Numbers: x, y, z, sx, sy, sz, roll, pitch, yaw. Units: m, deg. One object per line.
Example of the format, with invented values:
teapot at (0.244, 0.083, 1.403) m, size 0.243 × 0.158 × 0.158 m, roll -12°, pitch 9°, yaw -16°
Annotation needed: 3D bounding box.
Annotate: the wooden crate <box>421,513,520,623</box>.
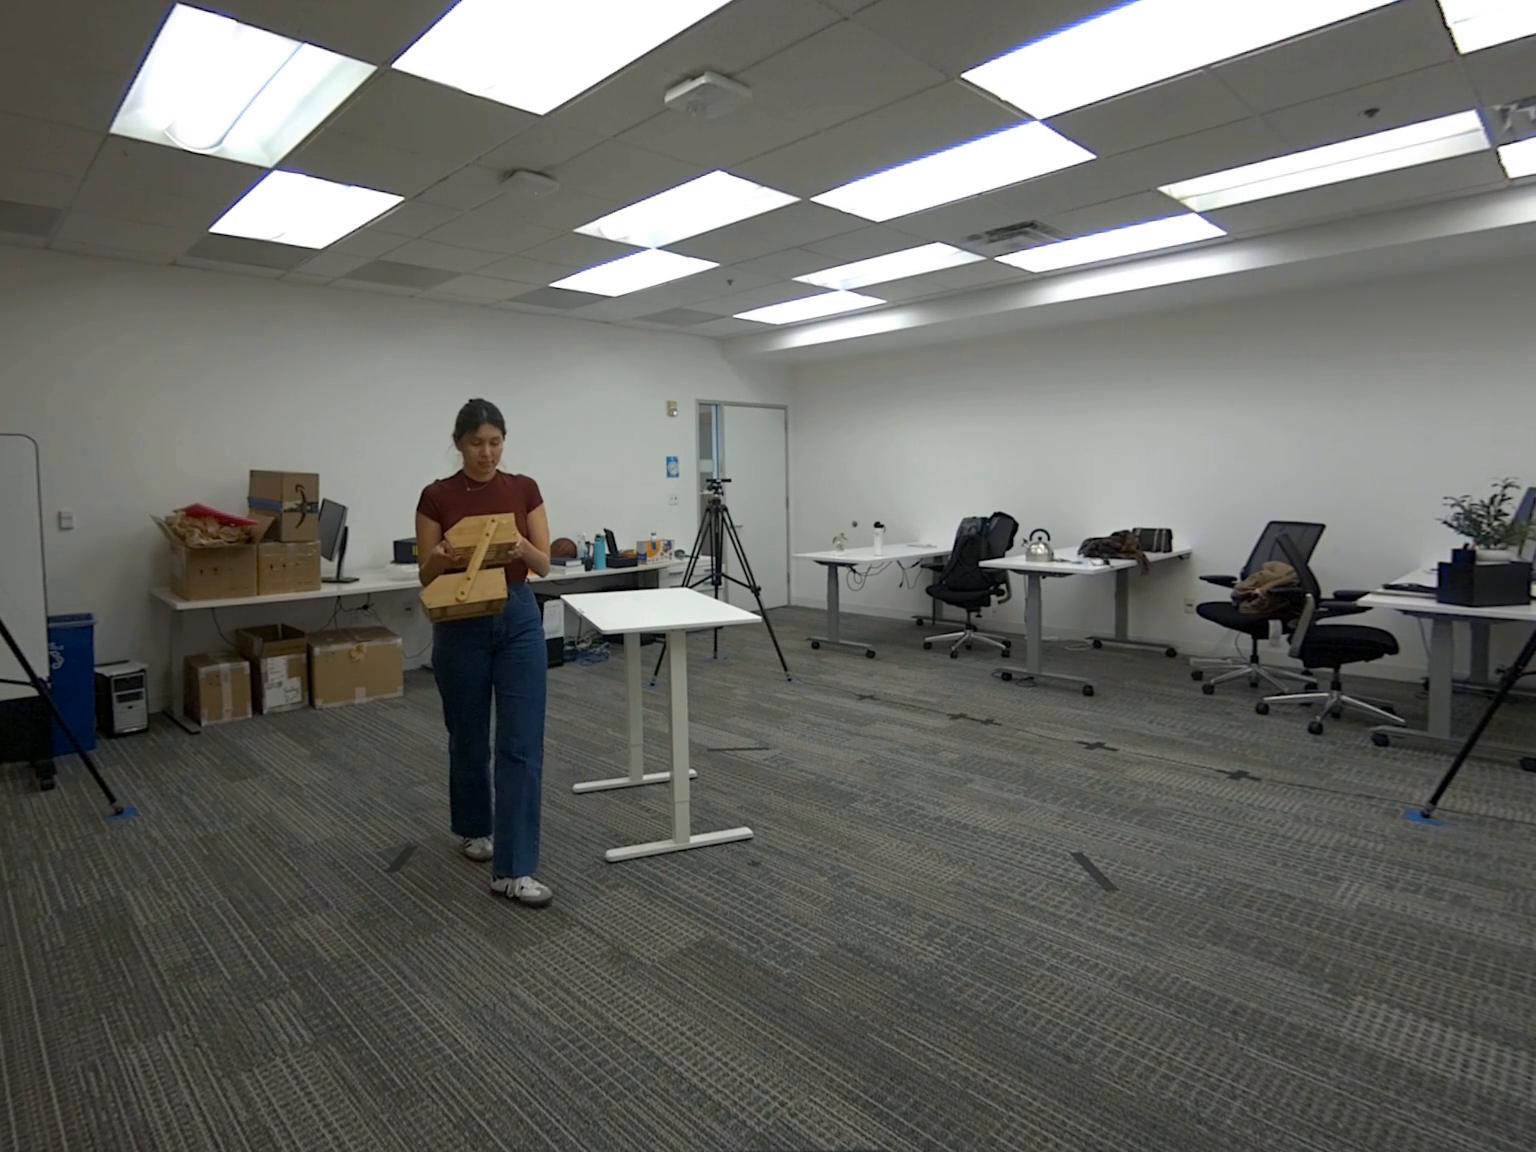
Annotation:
wooden crate at (-0.961, -0.027, 2.702) m, size 0.297 × 0.276 × 0.326 m, roll -5°, pitch -11°, yaw -19°
